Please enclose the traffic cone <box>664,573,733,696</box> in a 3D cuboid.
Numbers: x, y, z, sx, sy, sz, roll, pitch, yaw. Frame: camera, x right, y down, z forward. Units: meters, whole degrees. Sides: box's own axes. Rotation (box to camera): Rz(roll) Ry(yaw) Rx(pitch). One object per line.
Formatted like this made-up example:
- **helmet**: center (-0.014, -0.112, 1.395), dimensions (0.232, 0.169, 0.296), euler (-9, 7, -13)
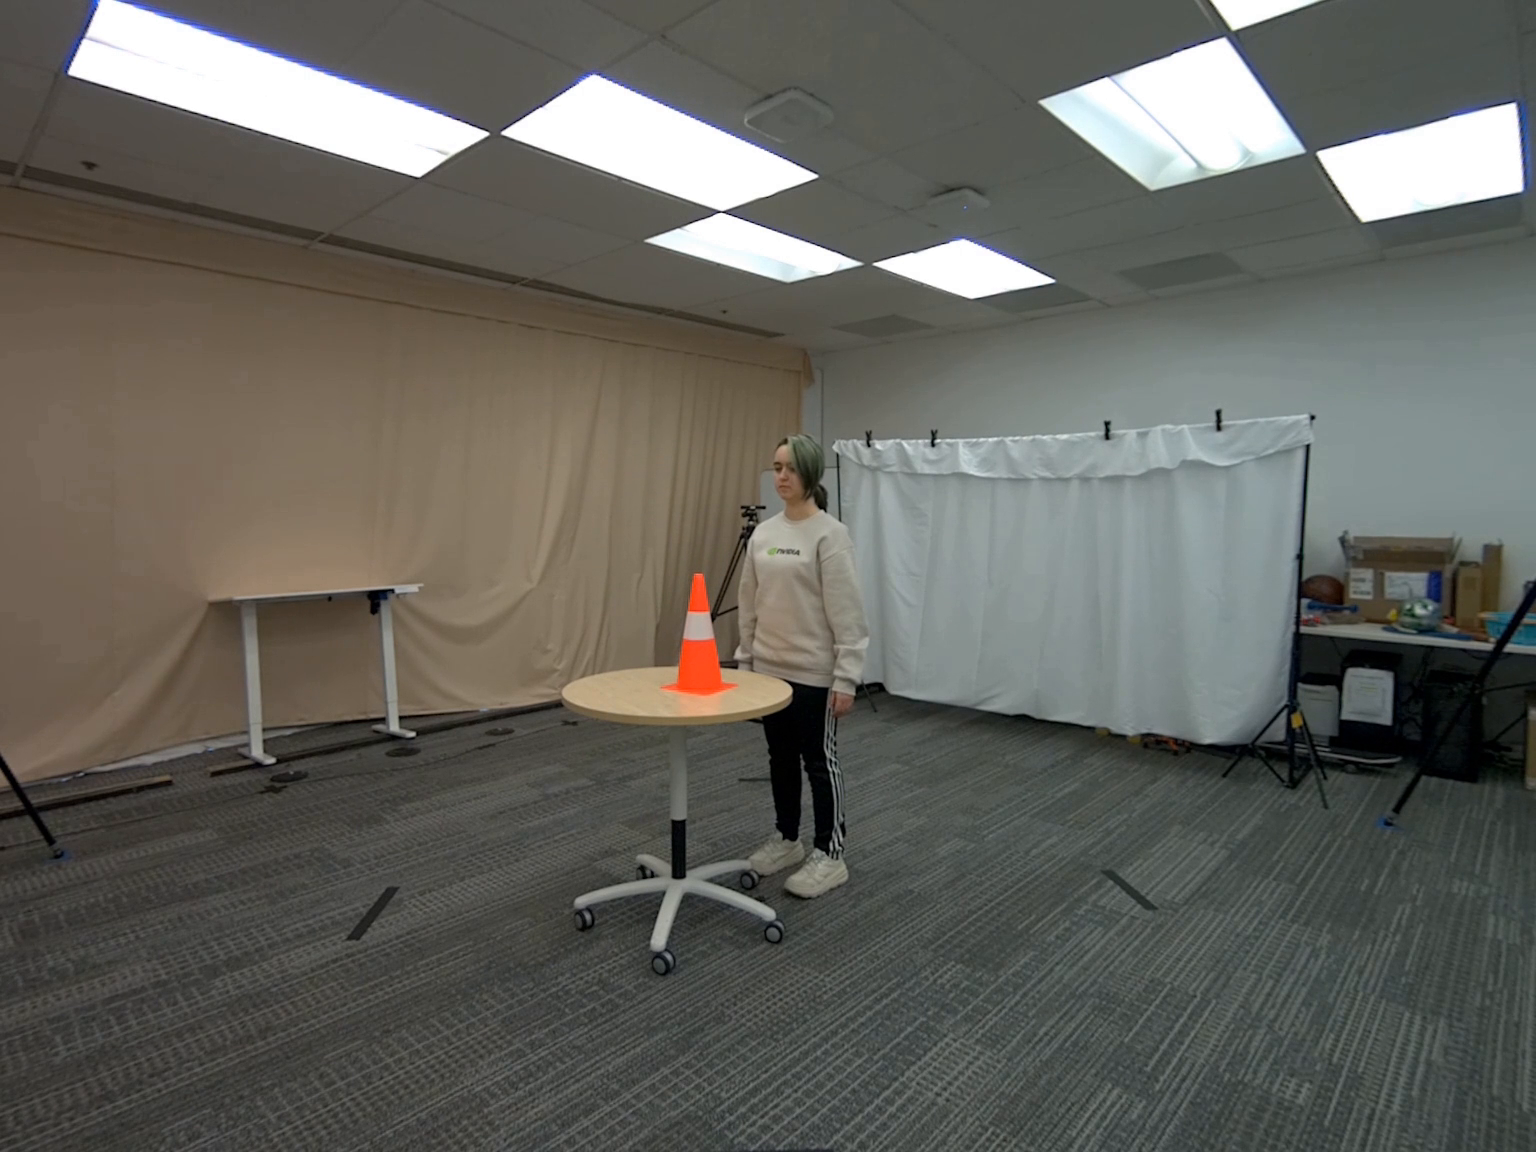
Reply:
- **traffic cone**: center (-0.231, 0.188, 2.831), dimensions (0.211, 0.383, 0.198), euler (1, 3, 32)
